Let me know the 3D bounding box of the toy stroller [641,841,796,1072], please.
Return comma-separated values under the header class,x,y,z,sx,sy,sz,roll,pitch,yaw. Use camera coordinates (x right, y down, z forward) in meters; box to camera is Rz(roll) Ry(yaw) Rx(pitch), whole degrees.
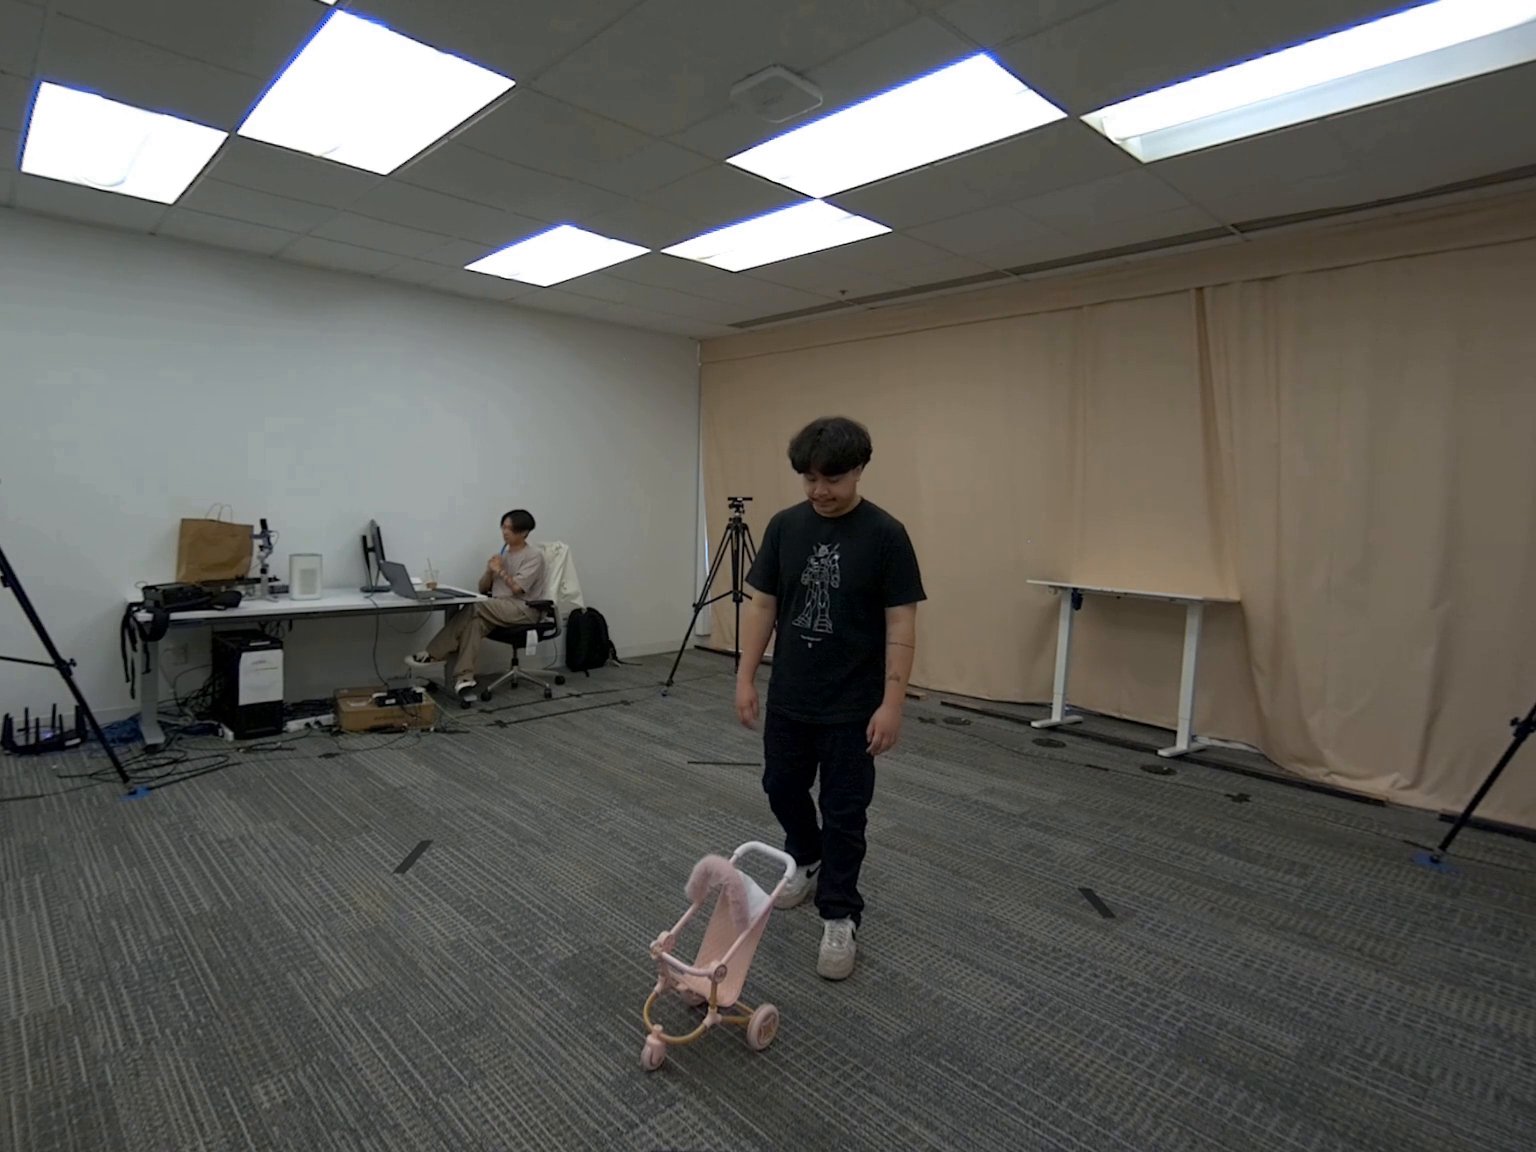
class,x,y,z,sx,sy,sz,roll,pitch,yaw
toy stroller,-0.147,0.969,2.167,0.331,0.537,0.289,19,-9,-42
